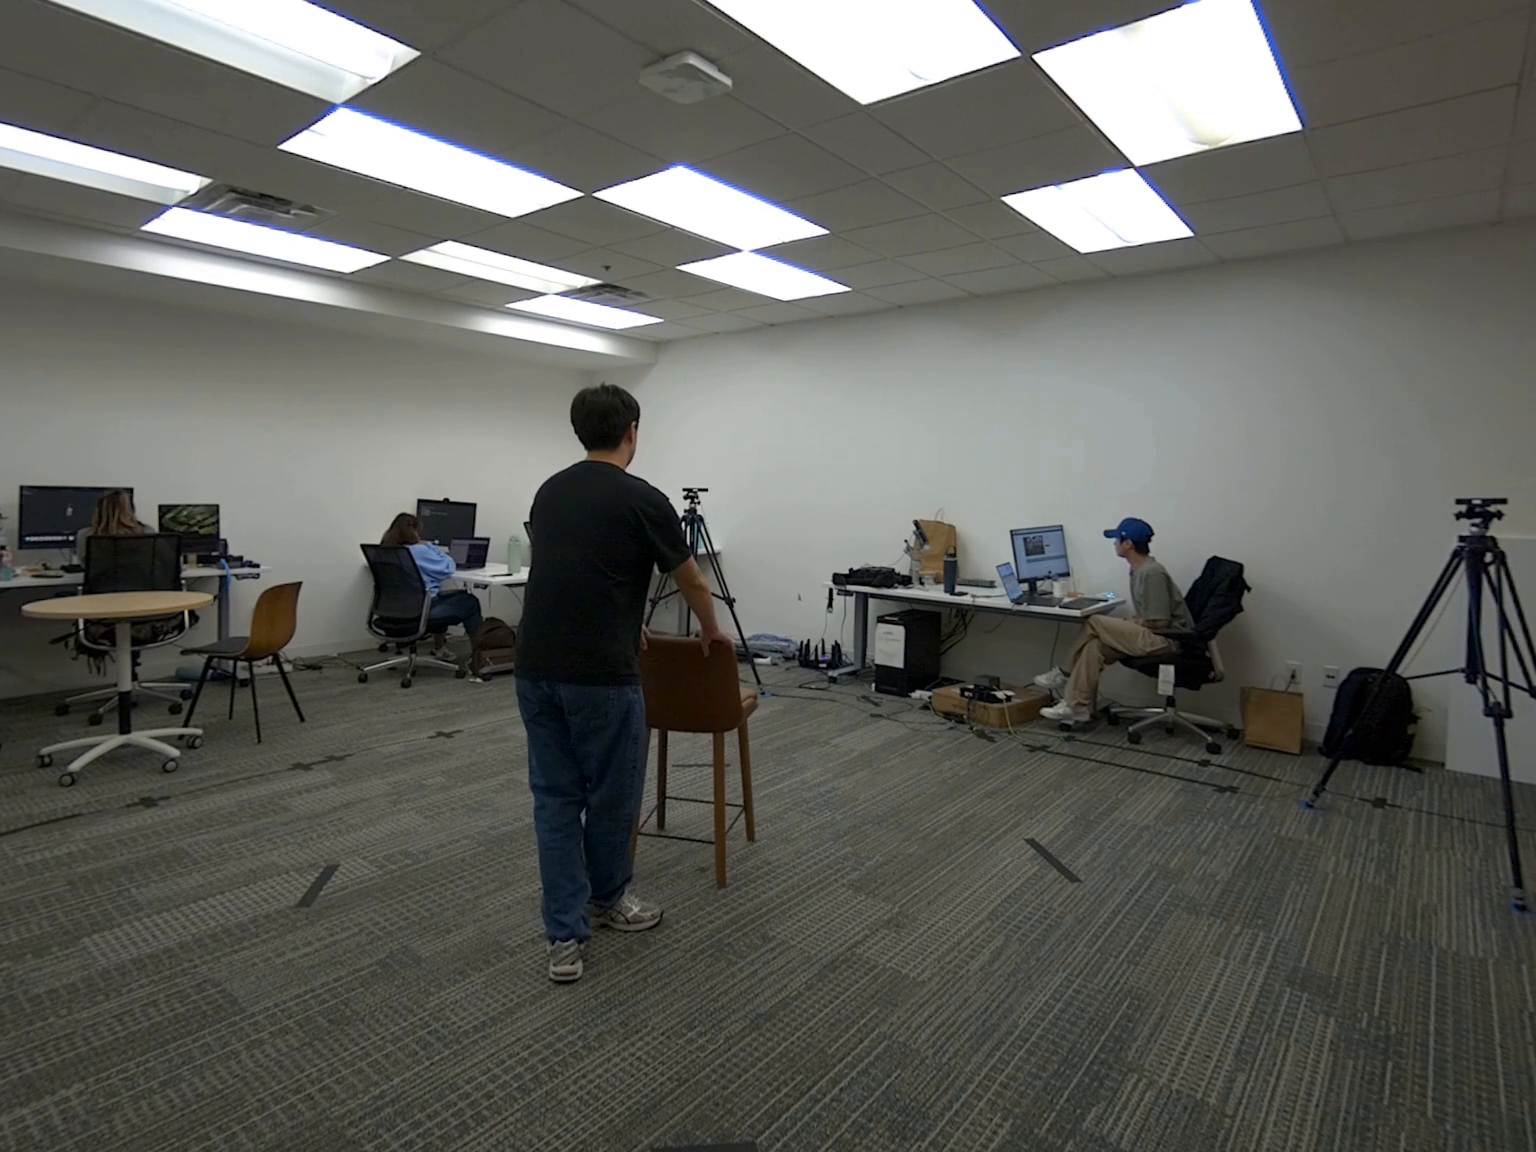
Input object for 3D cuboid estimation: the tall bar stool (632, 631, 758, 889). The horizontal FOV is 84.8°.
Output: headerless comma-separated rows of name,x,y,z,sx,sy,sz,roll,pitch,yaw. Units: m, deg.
tall bar stool,-0.296,0.623,3.189,0.464,0.885,0.462,2,6,14
